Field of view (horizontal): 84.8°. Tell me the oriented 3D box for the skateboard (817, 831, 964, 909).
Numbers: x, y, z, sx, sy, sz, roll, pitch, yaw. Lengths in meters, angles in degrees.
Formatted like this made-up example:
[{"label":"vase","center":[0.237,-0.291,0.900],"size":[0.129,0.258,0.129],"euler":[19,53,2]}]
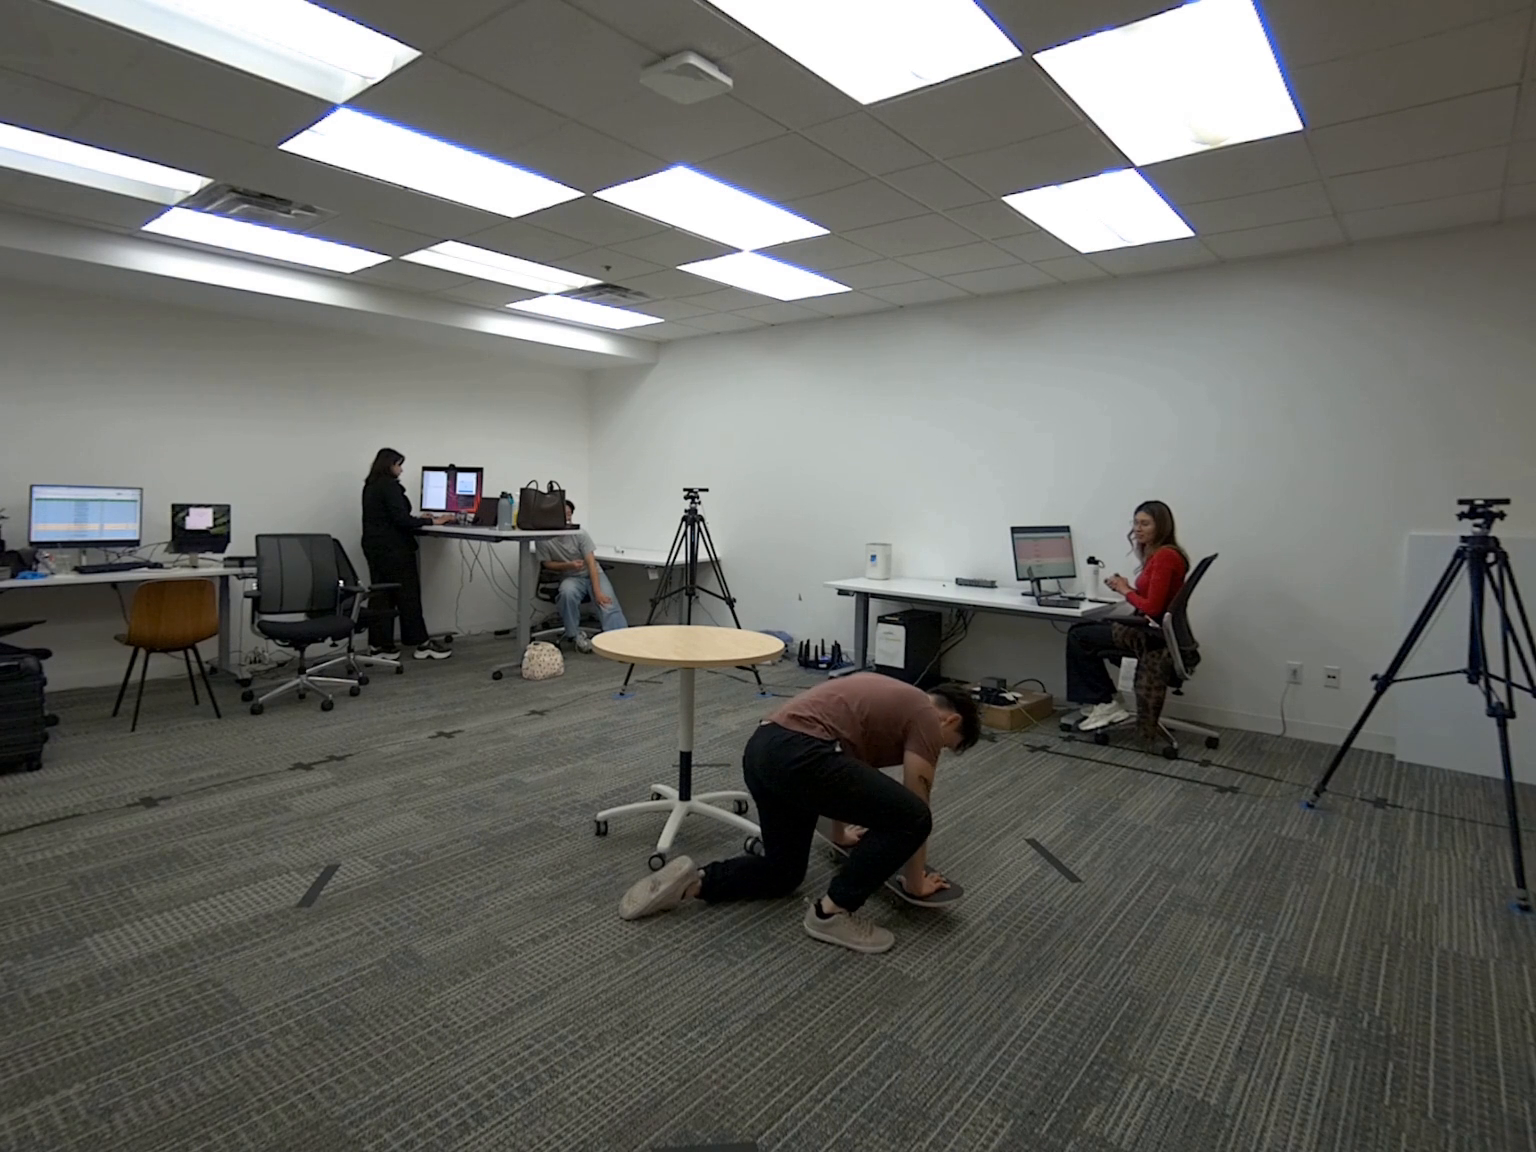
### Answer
[{"label":"skateboard","center":[0.394,1.029,3.054],"size":[0.189,0.109,0.807],"euler":[-6,9,-25]}]
